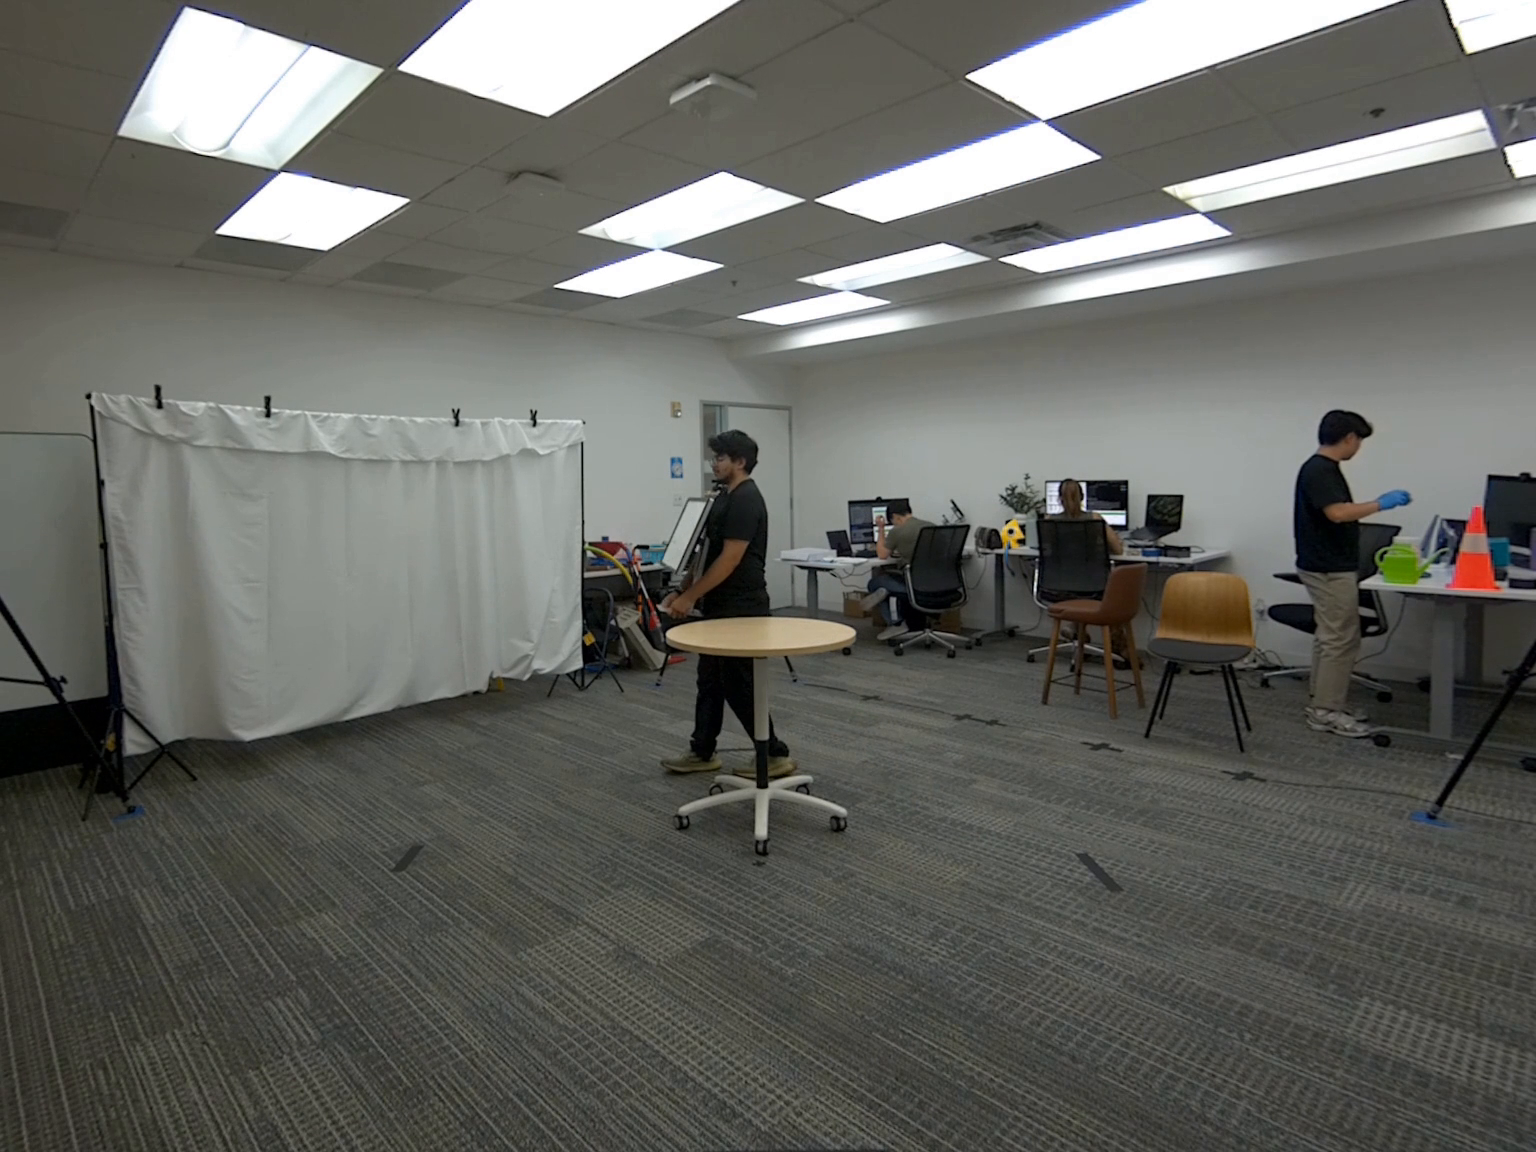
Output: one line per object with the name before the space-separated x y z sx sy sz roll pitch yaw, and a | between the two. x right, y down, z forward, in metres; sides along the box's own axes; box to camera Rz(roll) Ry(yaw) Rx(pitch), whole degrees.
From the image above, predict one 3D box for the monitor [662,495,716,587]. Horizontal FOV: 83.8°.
monitor | -0.350 -0.094 3.993 0.206 0.554 0.575 18 -1 -16
